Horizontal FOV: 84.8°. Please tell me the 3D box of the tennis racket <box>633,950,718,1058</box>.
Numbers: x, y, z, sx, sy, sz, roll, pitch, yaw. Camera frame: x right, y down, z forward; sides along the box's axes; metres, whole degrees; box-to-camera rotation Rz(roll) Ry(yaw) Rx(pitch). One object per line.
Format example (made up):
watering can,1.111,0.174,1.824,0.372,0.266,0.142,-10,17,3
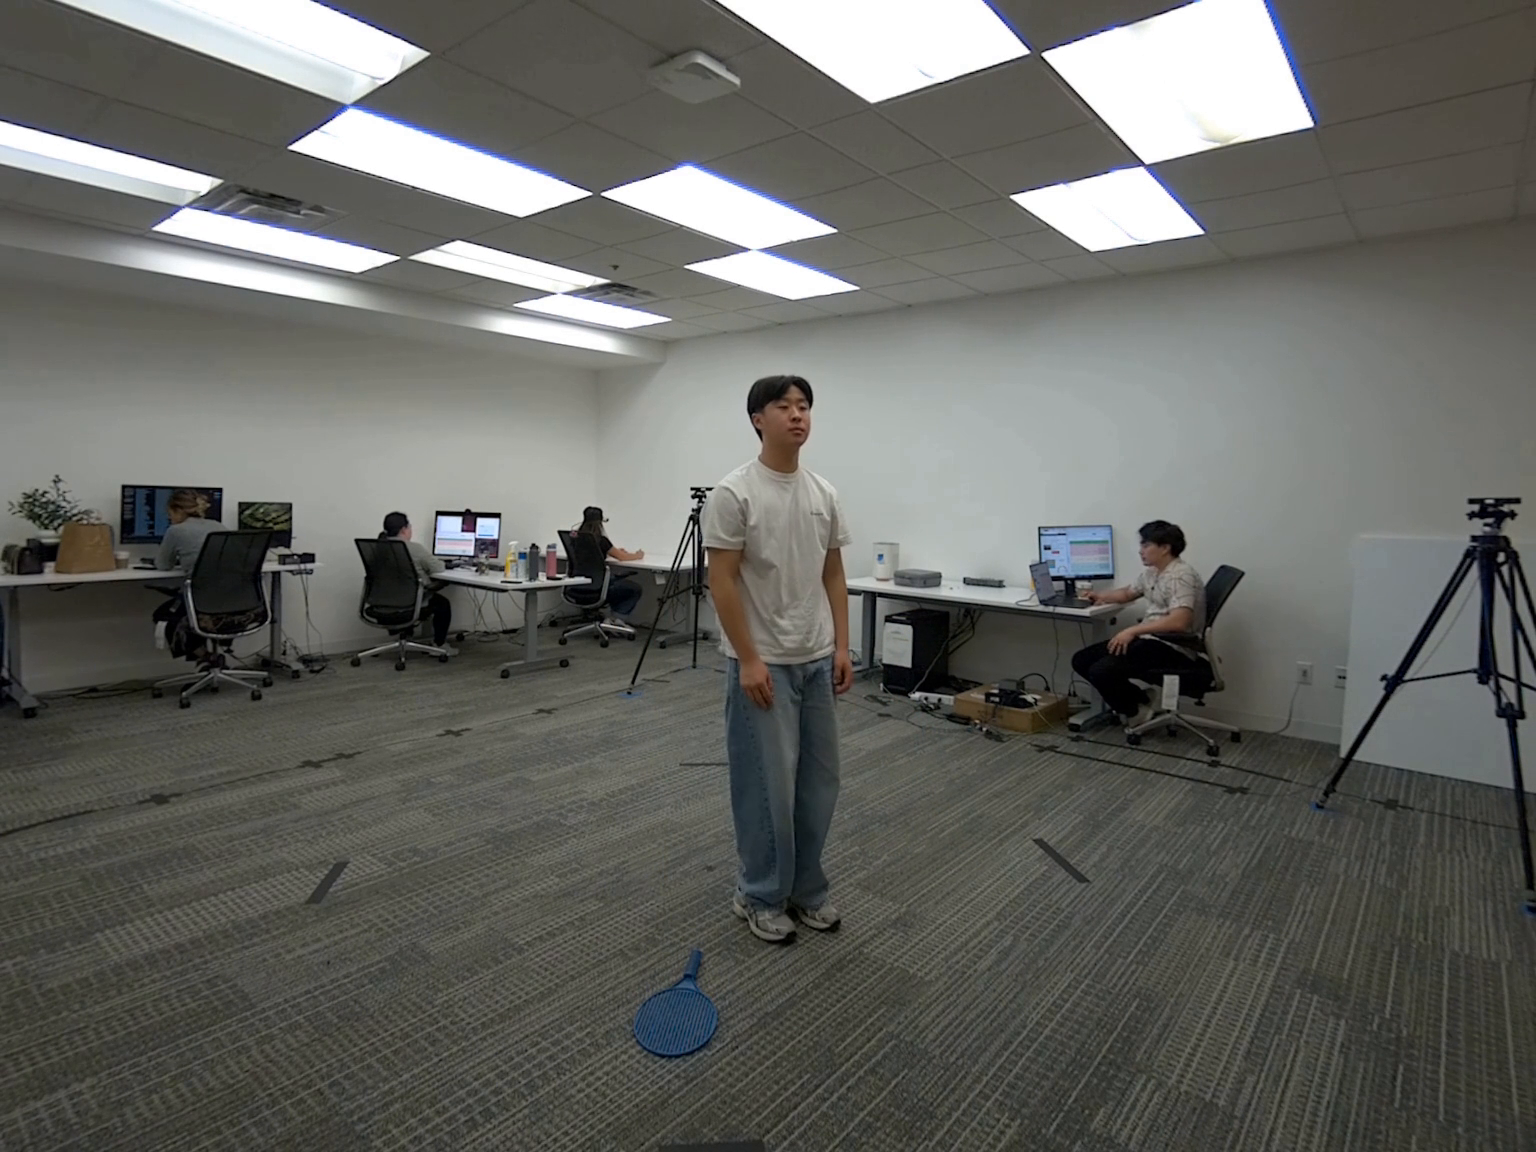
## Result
tennis racket,-0.231,1.133,2.291,0.216,0.031,0.431,2,8,8
